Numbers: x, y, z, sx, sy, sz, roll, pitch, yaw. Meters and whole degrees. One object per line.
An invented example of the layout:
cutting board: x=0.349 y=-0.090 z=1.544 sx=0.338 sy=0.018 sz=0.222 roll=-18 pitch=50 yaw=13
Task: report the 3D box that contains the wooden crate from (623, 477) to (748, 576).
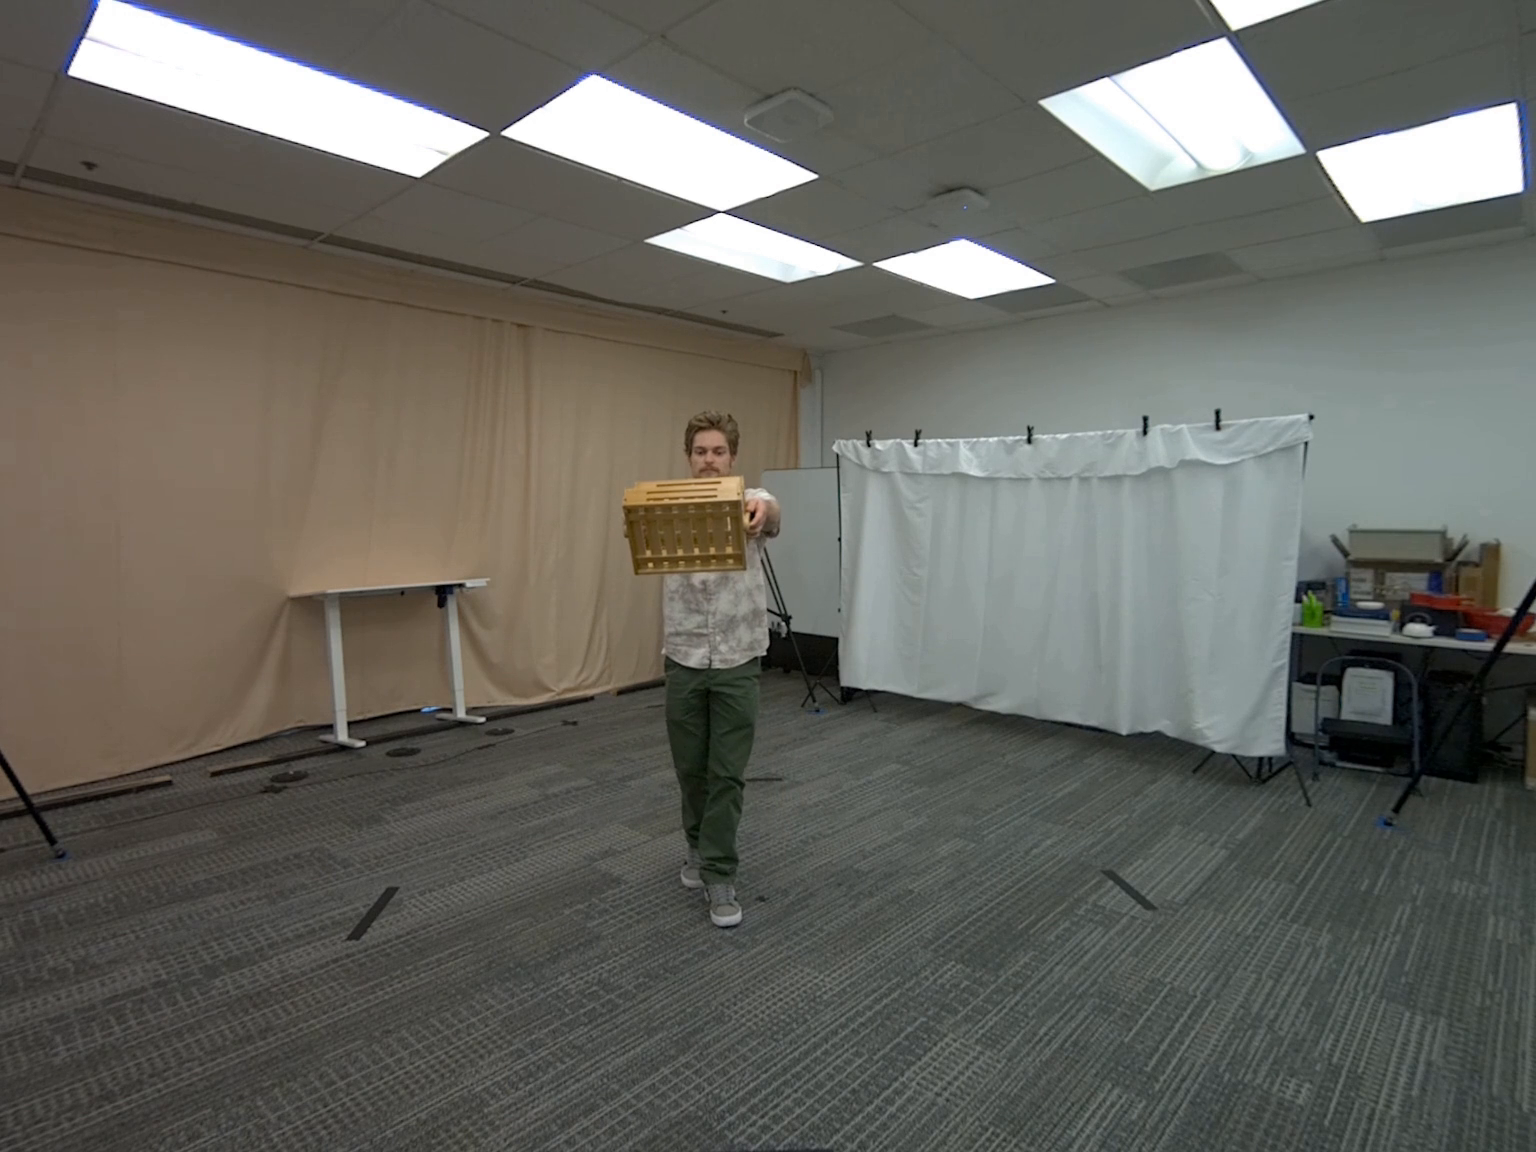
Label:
wooden crate: x=-0.219 y=-0.168 z=2.290 sx=0.326 sy=0.296 sz=0.278 roll=-2 pitch=39 yaw=3
